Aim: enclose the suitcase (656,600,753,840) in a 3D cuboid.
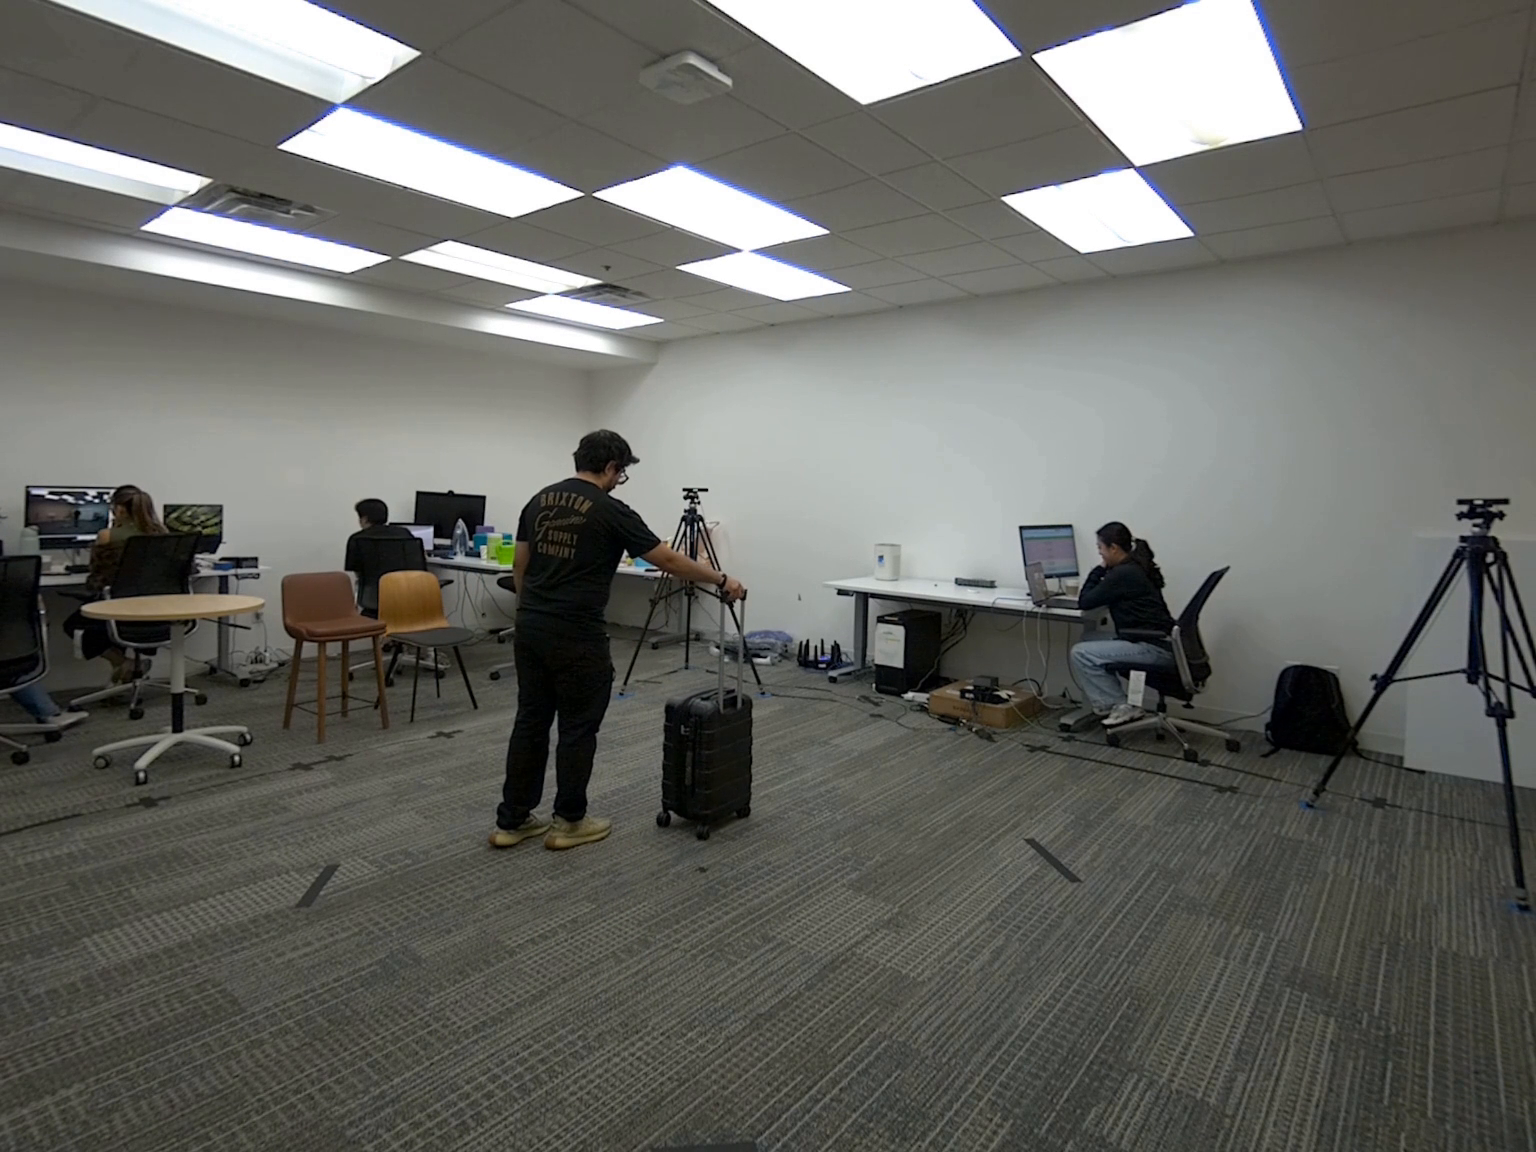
[{"bbox_3d":[-0.263,0.549,3.565,0.265,0.978,0.372,2,0,37],"label":"suitcase"}]
